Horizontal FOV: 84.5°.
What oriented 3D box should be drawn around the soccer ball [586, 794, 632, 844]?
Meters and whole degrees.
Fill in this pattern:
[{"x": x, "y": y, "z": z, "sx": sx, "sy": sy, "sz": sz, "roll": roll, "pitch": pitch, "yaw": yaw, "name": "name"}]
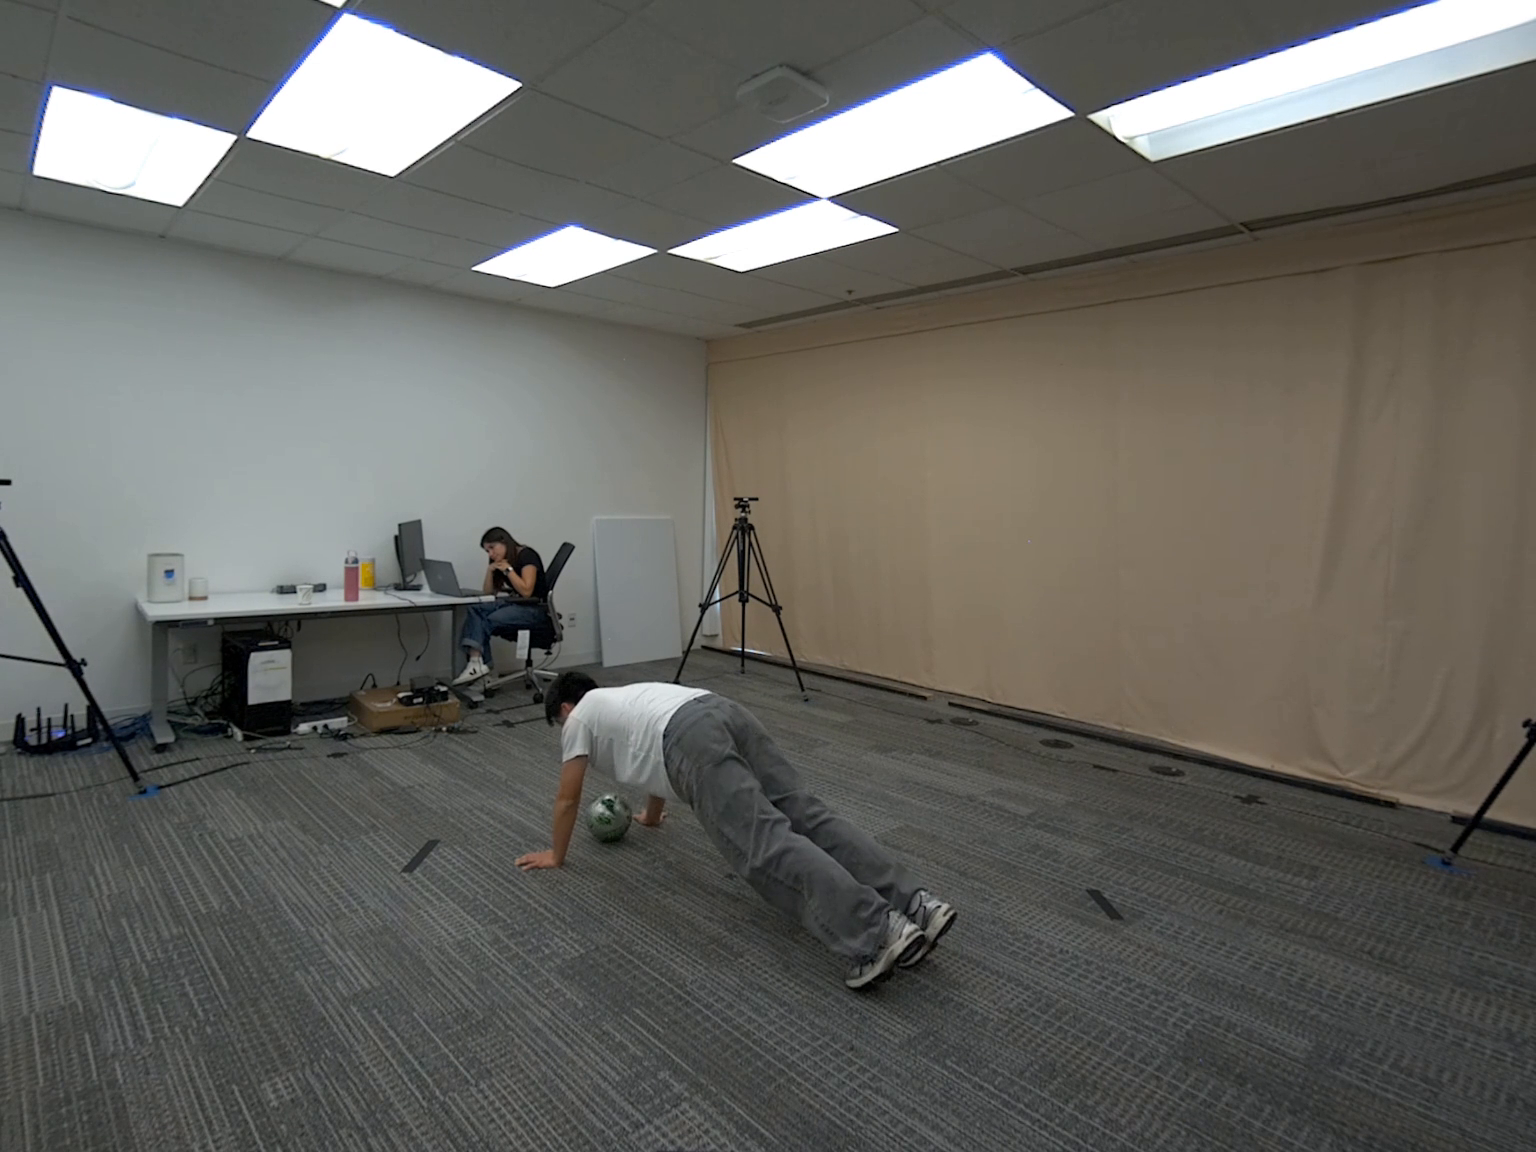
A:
[{"x": -0.653, "y": 0.979, "z": 3.405, "sx": 0.187, "sy": 0.187, "sz": 0.188, "roll": 1, "pitch": 4, "yaw": -1, "name": "soccer ball"}]
